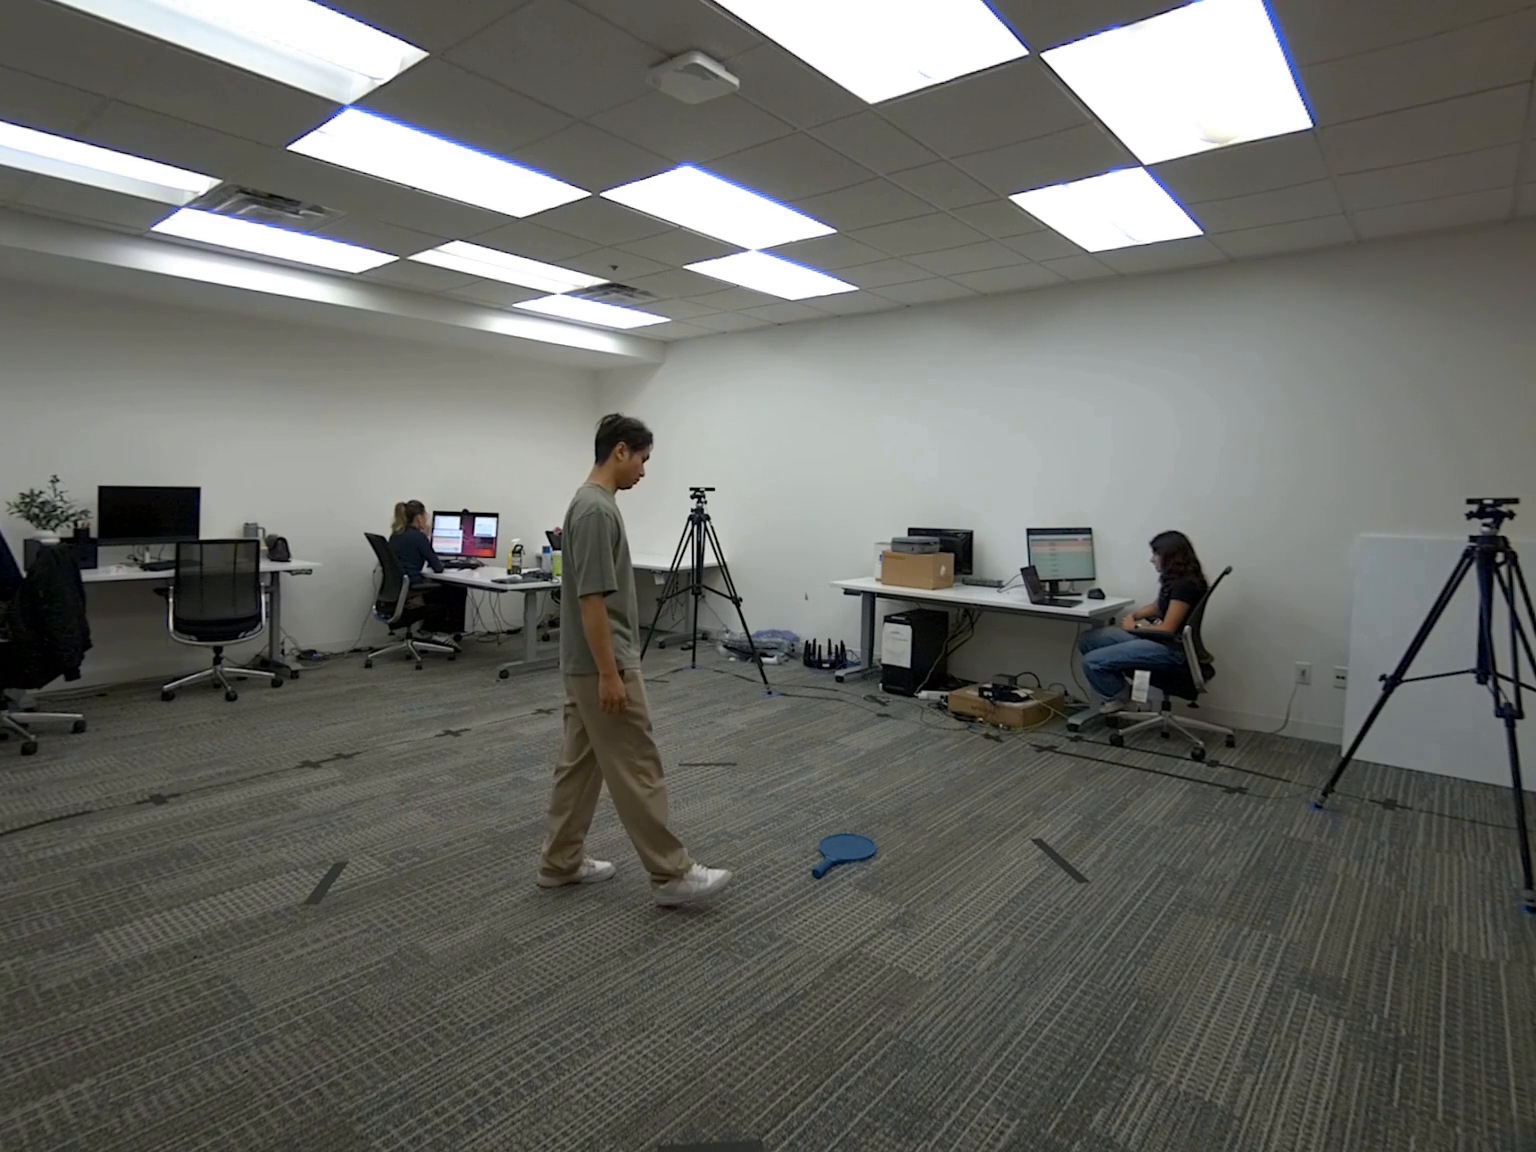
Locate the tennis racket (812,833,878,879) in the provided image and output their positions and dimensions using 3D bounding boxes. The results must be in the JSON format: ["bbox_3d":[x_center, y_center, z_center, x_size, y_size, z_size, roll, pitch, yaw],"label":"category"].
[{"bbox_3d":[0.261,1.048,3.234,0.220,0.032,0.422,3,5,28],"label":"tennis racket"}]
